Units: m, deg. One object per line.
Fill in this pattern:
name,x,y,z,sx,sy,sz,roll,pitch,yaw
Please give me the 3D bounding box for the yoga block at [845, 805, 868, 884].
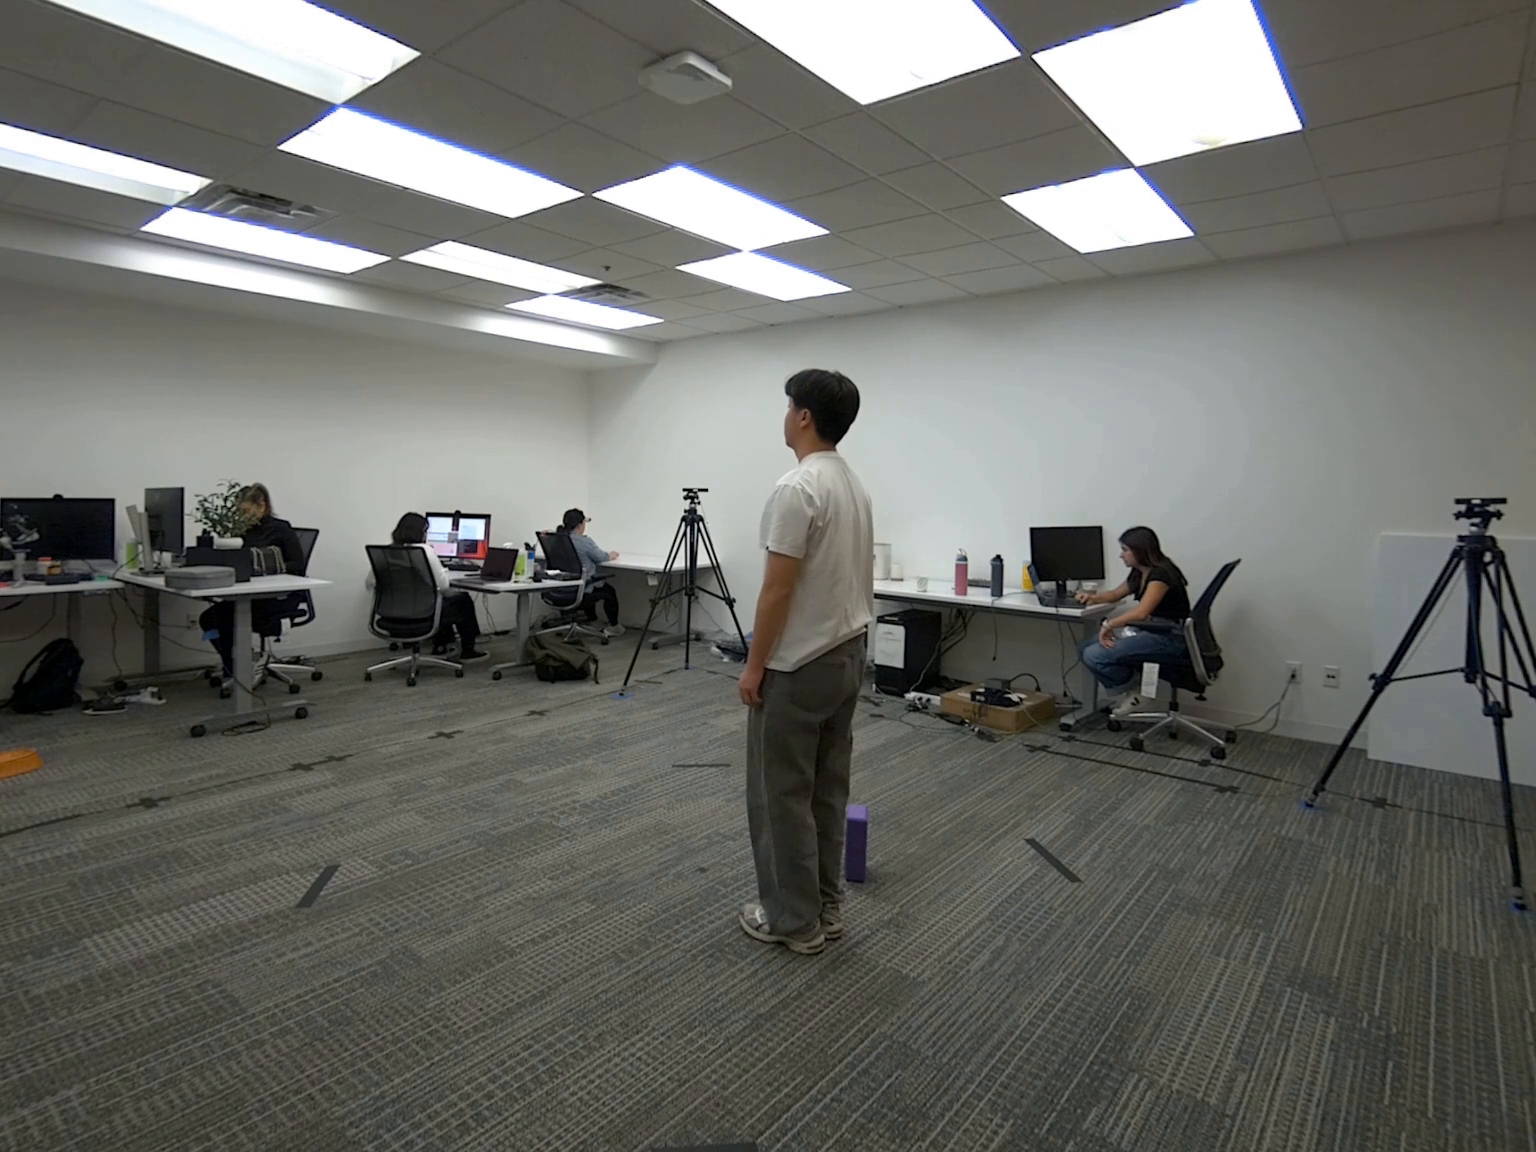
yoga block,0.326,0.957,3.104,0.077,0.229,0.148,1,2,7
